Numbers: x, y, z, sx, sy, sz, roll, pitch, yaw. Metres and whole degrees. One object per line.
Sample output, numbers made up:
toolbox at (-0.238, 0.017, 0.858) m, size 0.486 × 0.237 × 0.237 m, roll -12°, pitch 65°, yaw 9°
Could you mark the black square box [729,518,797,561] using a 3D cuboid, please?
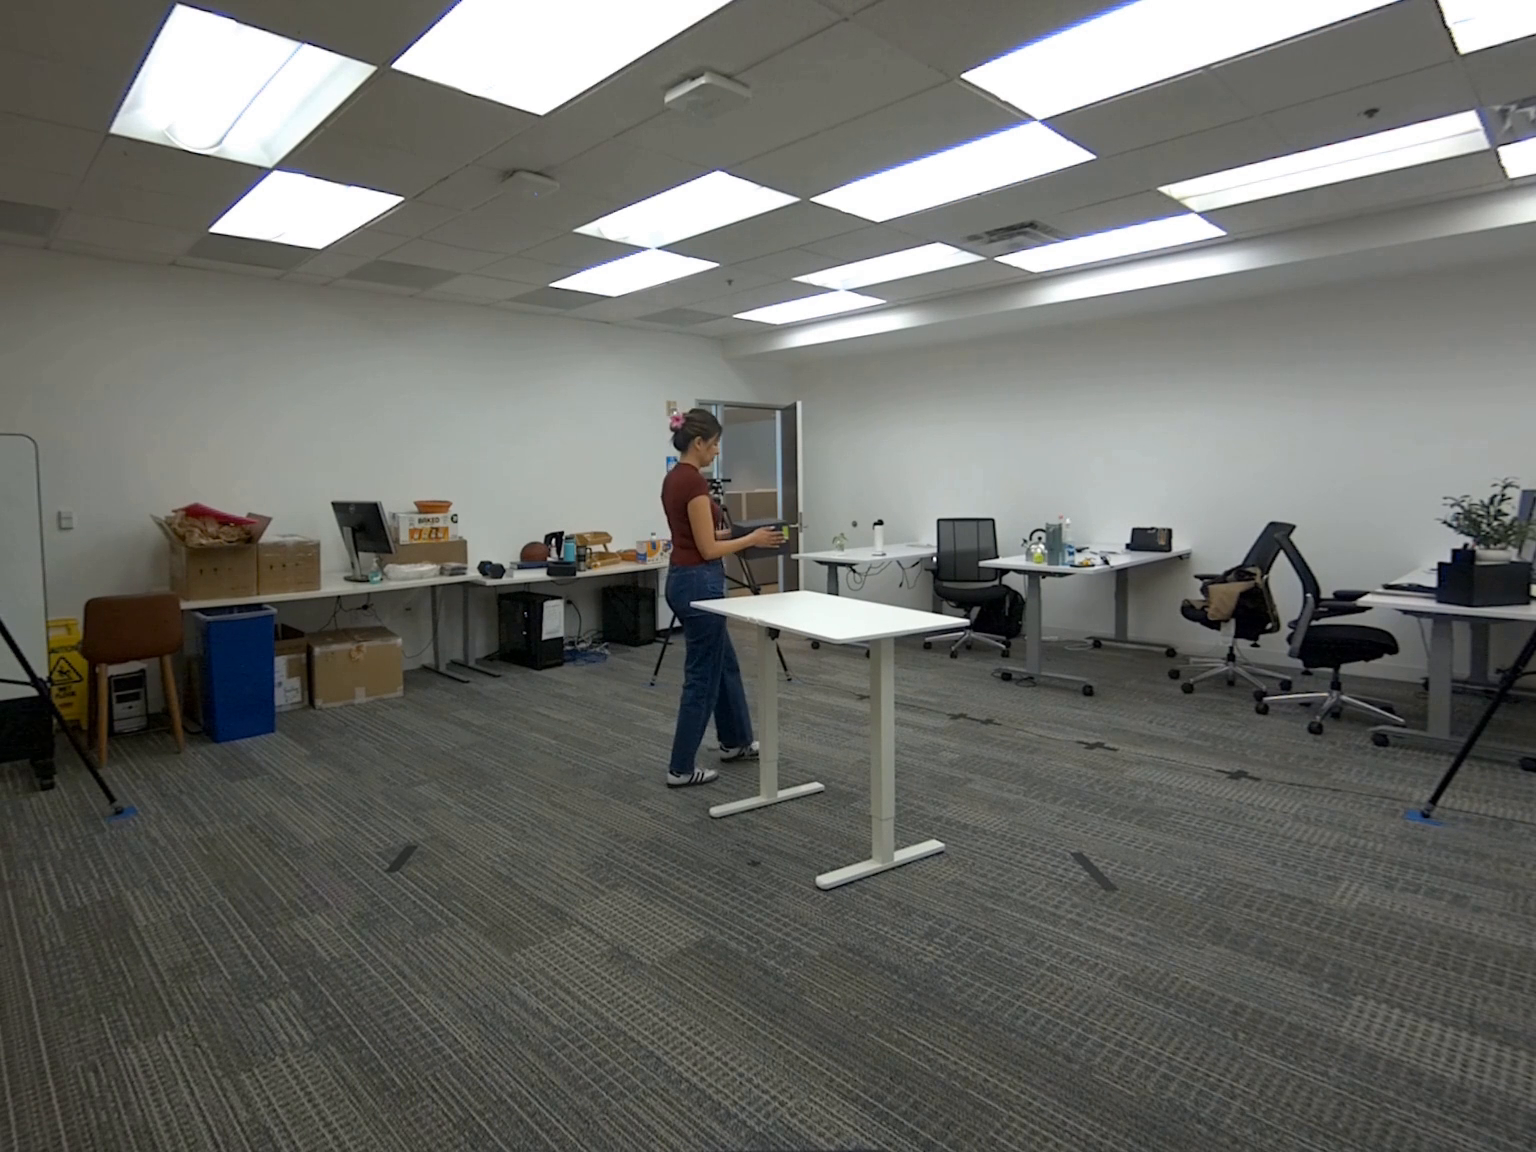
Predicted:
black square box at (-0.040, -0.181, 4.062) m, size 0.214 × 0.154 × 0.233 m, roll -9°, pitch 11°, yaw -17°
